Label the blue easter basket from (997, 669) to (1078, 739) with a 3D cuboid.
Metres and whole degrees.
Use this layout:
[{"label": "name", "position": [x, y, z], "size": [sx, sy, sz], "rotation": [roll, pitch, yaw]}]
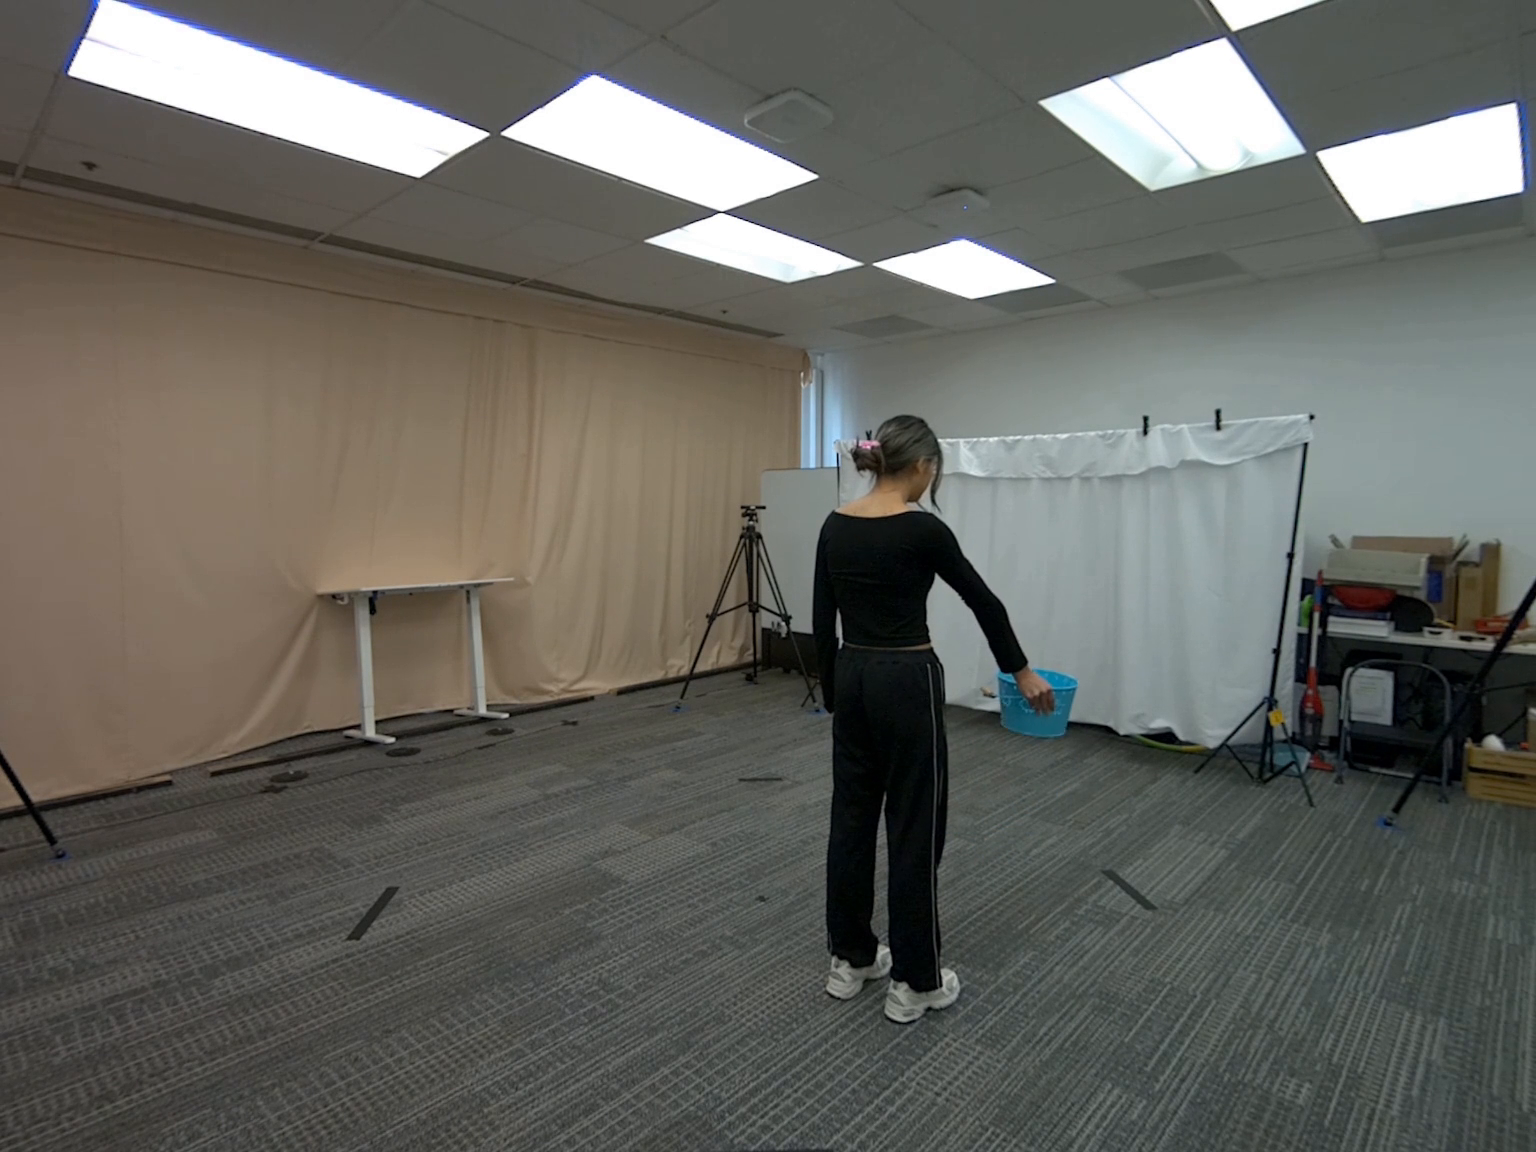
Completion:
[{"label": "blue easter basket", "position": [0.826, 0.386, 2.513], "size": [0.243, 0.155, 0.245], "rotation": [1, 8, -2]}]
